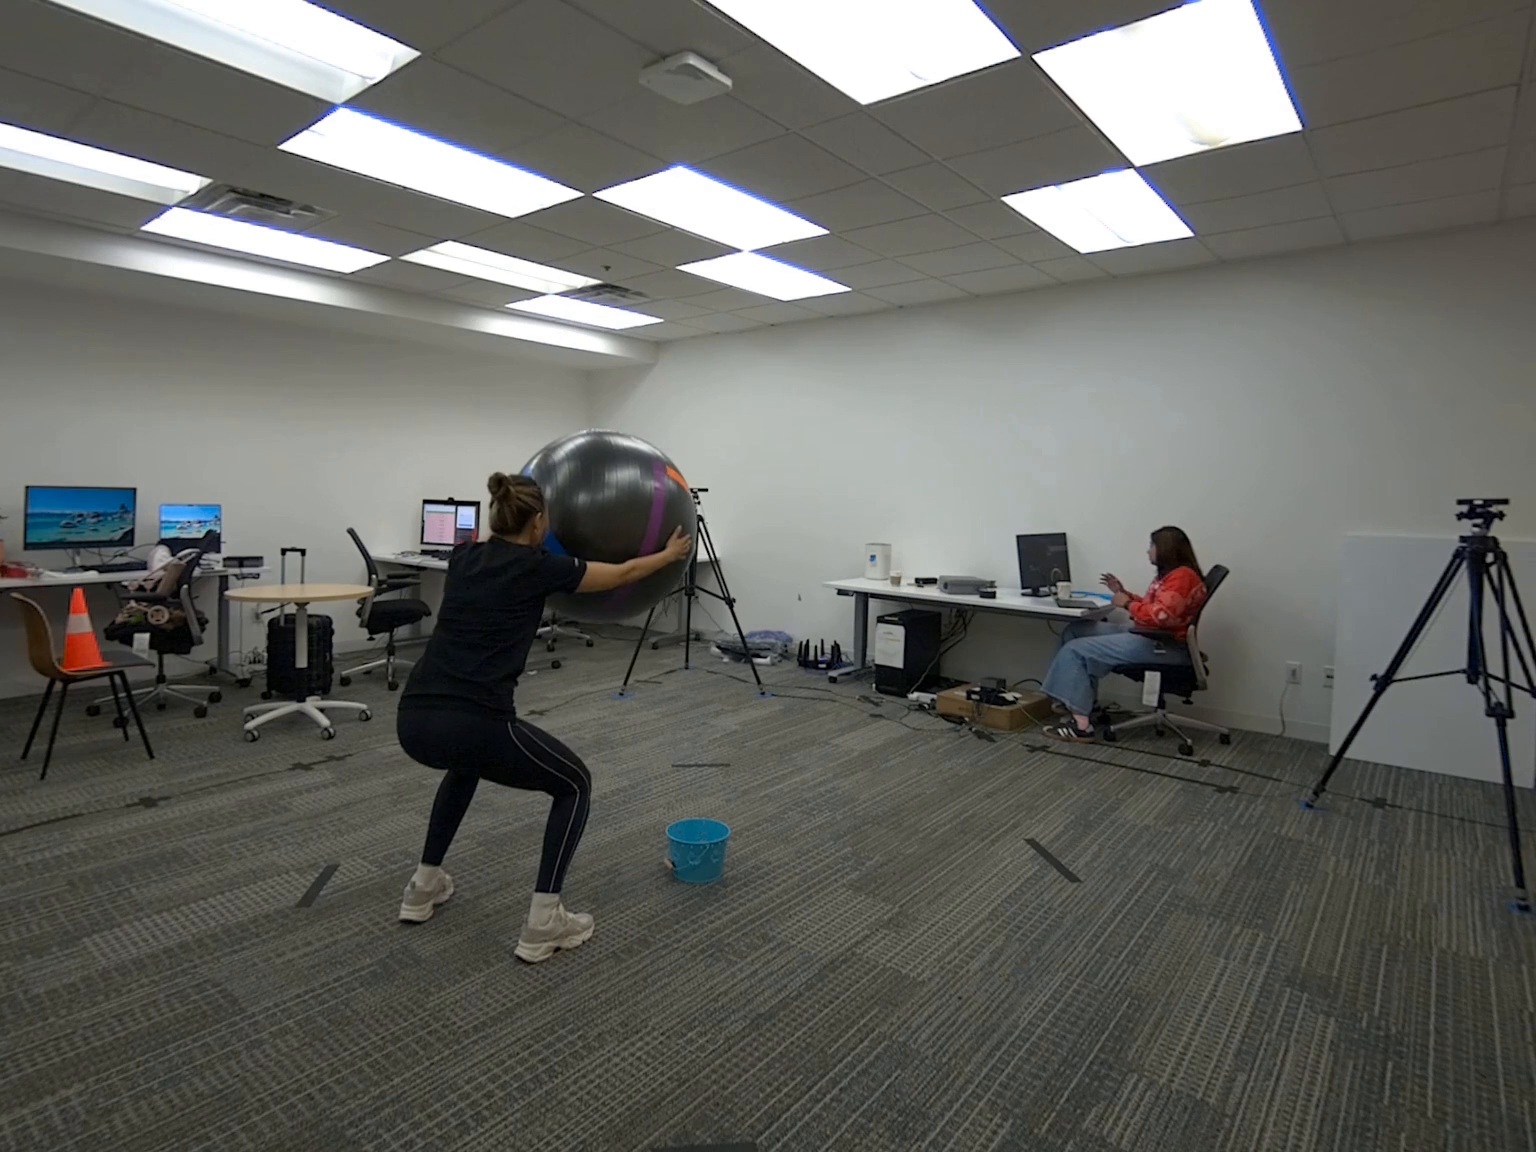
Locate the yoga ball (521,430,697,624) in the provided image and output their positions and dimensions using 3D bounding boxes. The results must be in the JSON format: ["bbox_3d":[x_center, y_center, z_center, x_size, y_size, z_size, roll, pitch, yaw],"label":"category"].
[{"bbox_3d":[-0.674,-0.191,3.345,0.757,0.756,0.762,1,4,-2],"label":"yoga ball"}]
